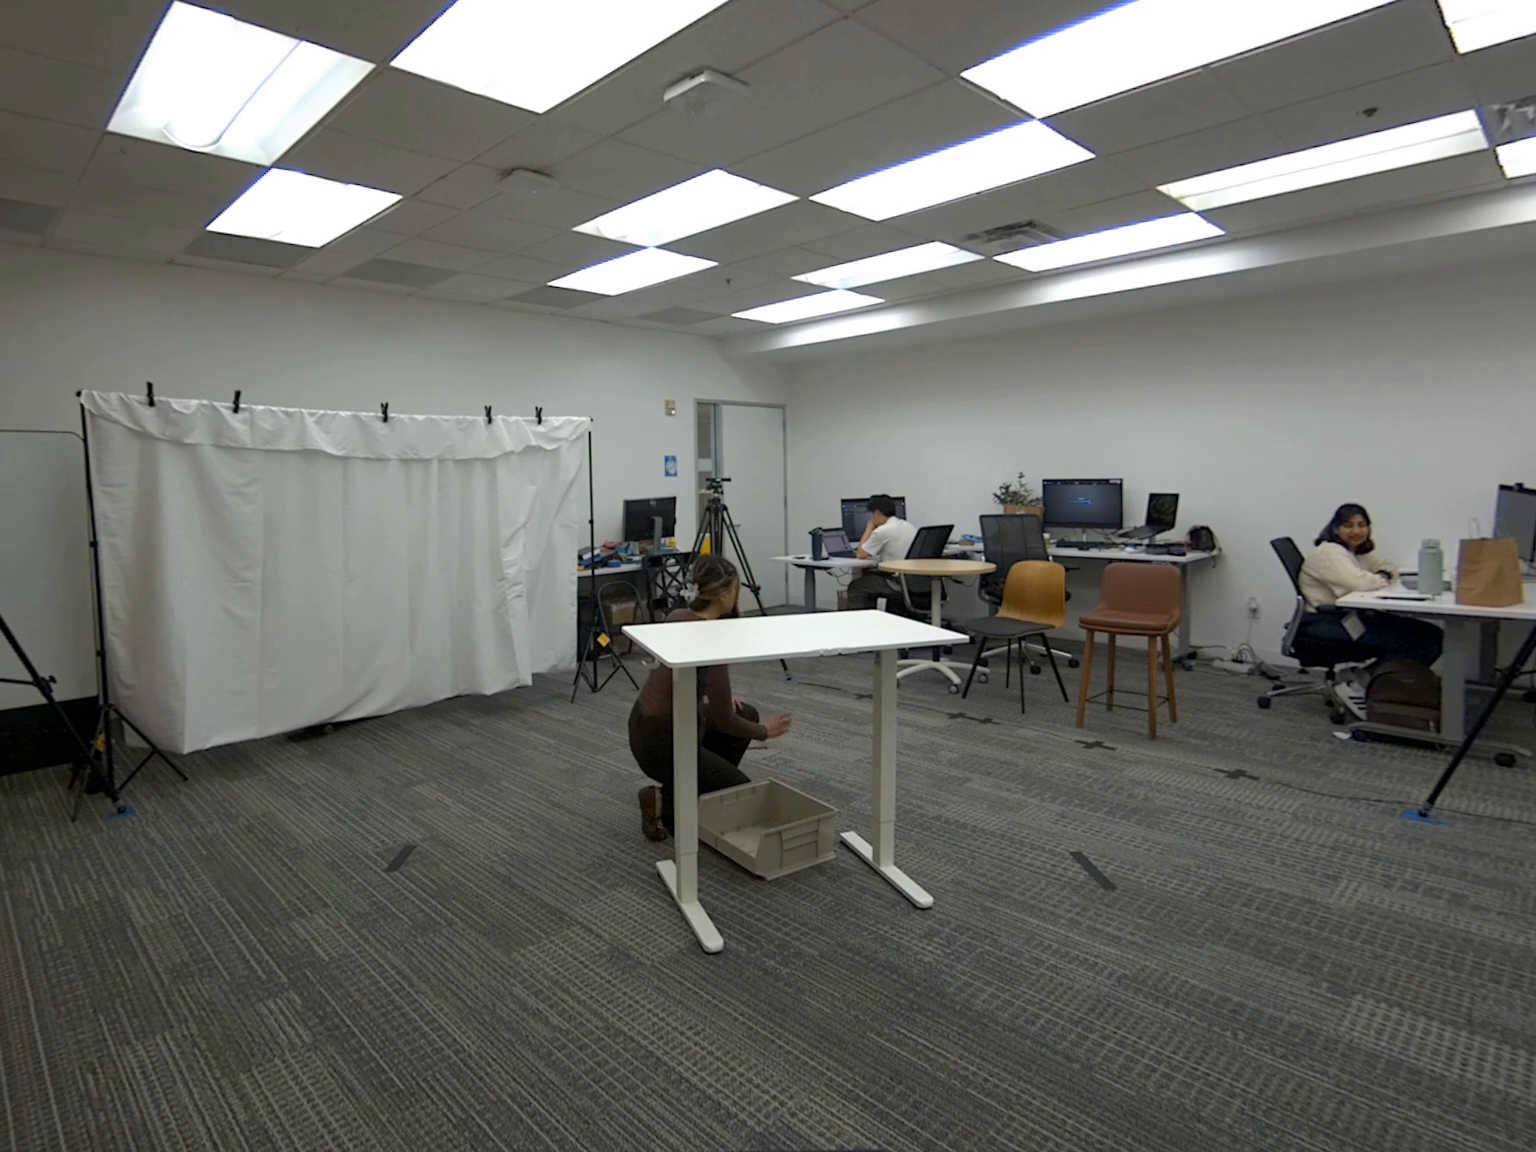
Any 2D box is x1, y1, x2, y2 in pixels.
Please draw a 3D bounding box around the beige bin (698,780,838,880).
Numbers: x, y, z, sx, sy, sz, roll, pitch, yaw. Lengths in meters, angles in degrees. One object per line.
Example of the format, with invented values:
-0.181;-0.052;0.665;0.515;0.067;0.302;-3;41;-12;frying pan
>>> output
-0.011;0.942;3.202;0.367;0.188;0.435;-3;5;-36;beige bin
